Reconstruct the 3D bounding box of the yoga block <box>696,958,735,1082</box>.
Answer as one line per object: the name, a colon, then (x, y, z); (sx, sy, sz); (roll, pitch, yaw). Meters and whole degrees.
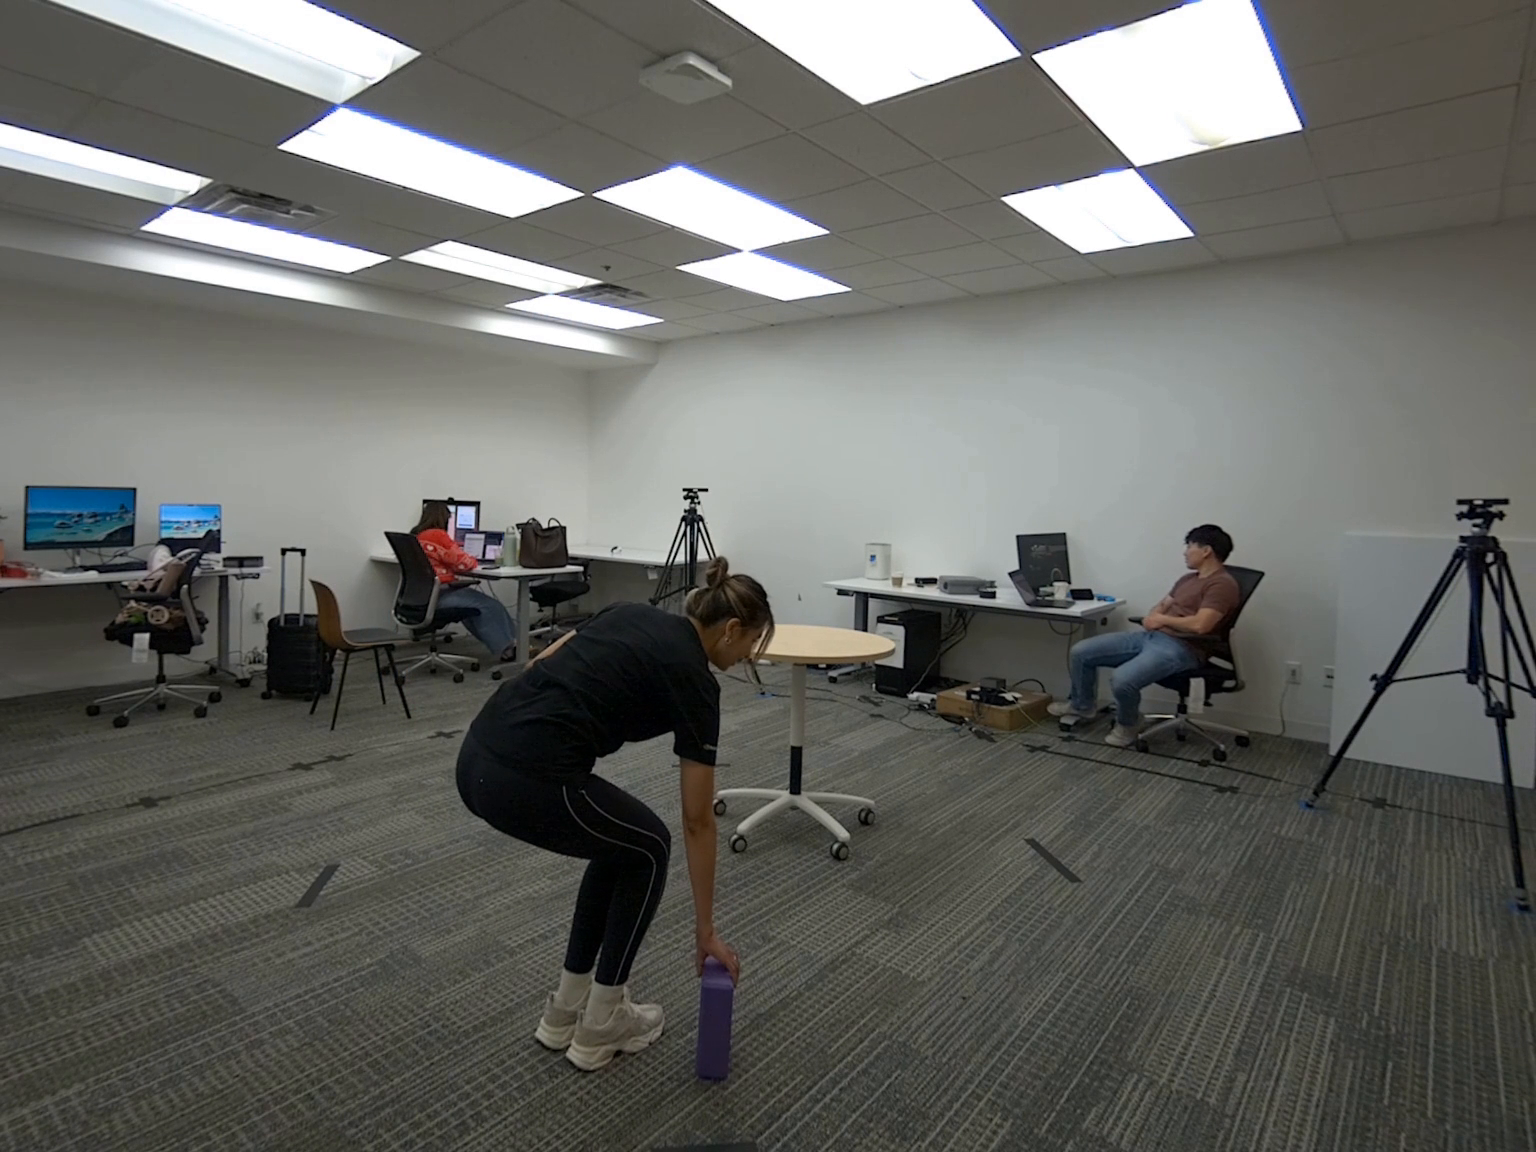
yoga block: (-0.134, 1.061, 2.056); (0.076, 0.228, 0.150); (3, 5, -2)
